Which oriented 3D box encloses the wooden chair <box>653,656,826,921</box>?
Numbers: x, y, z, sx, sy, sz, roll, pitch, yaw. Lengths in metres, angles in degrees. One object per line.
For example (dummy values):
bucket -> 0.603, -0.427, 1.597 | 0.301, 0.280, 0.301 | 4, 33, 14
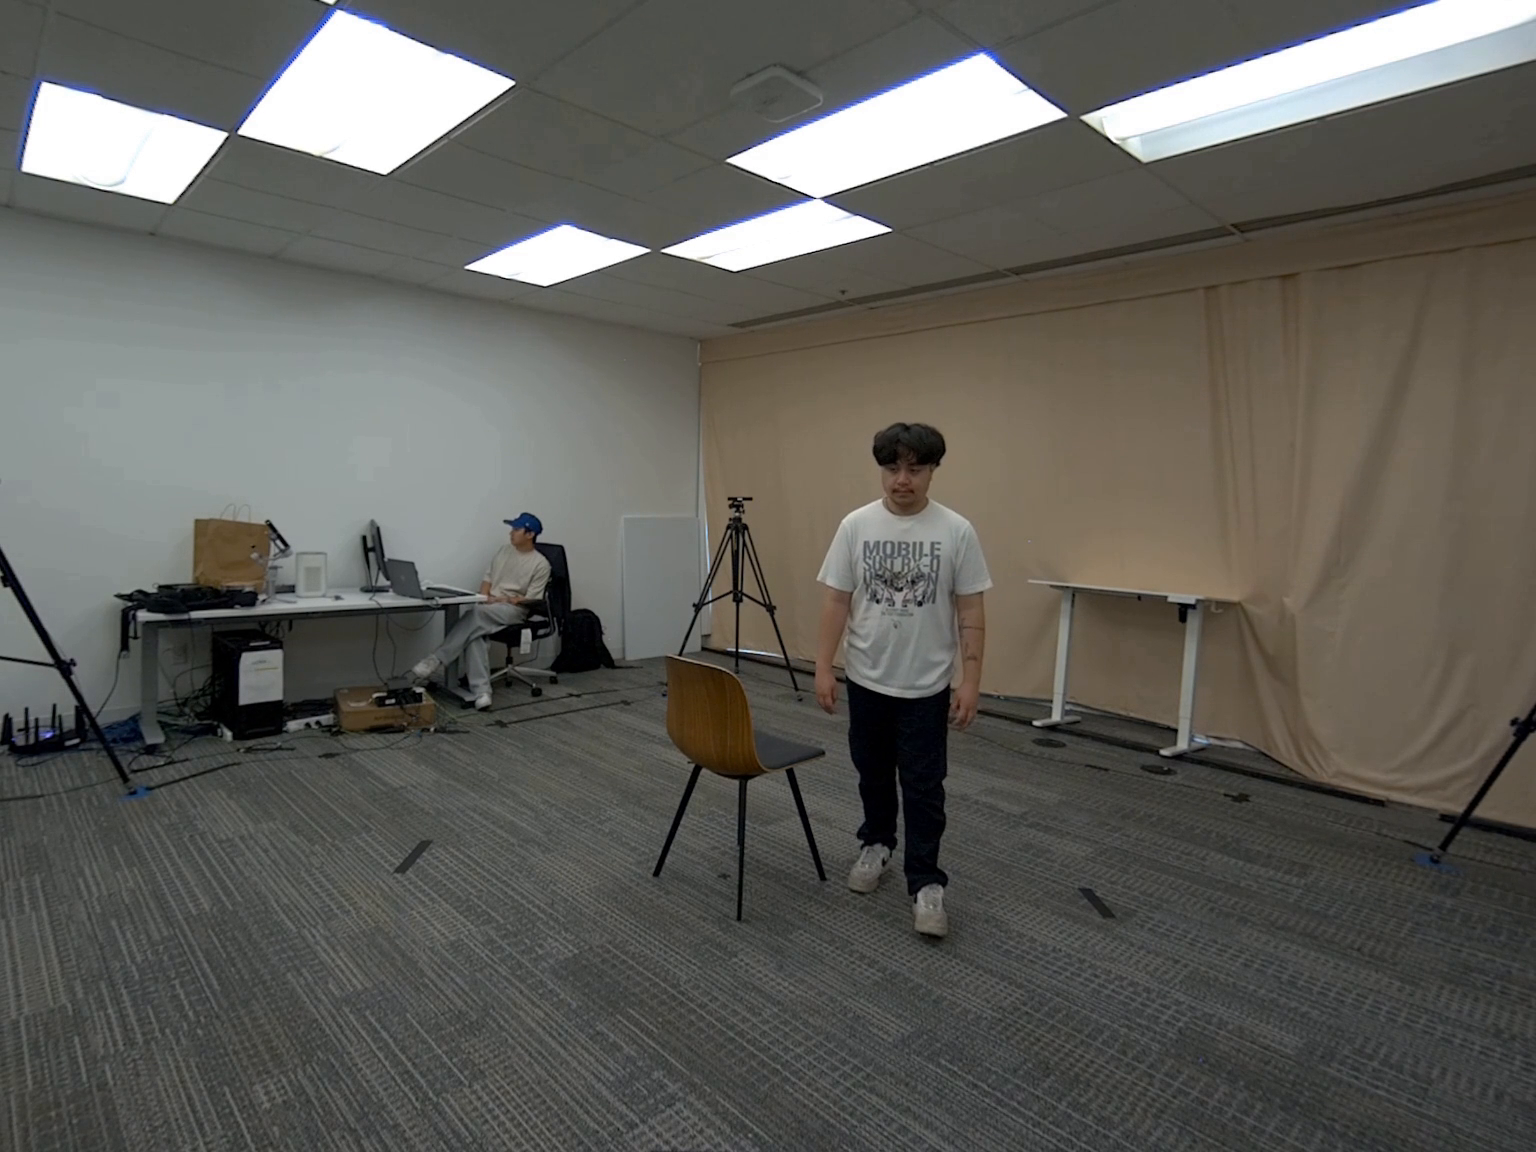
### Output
wooden chair -> -0.091, 0.682, 3.064 | 0.490, 0.873, 0.512 | 4, 8, 44
